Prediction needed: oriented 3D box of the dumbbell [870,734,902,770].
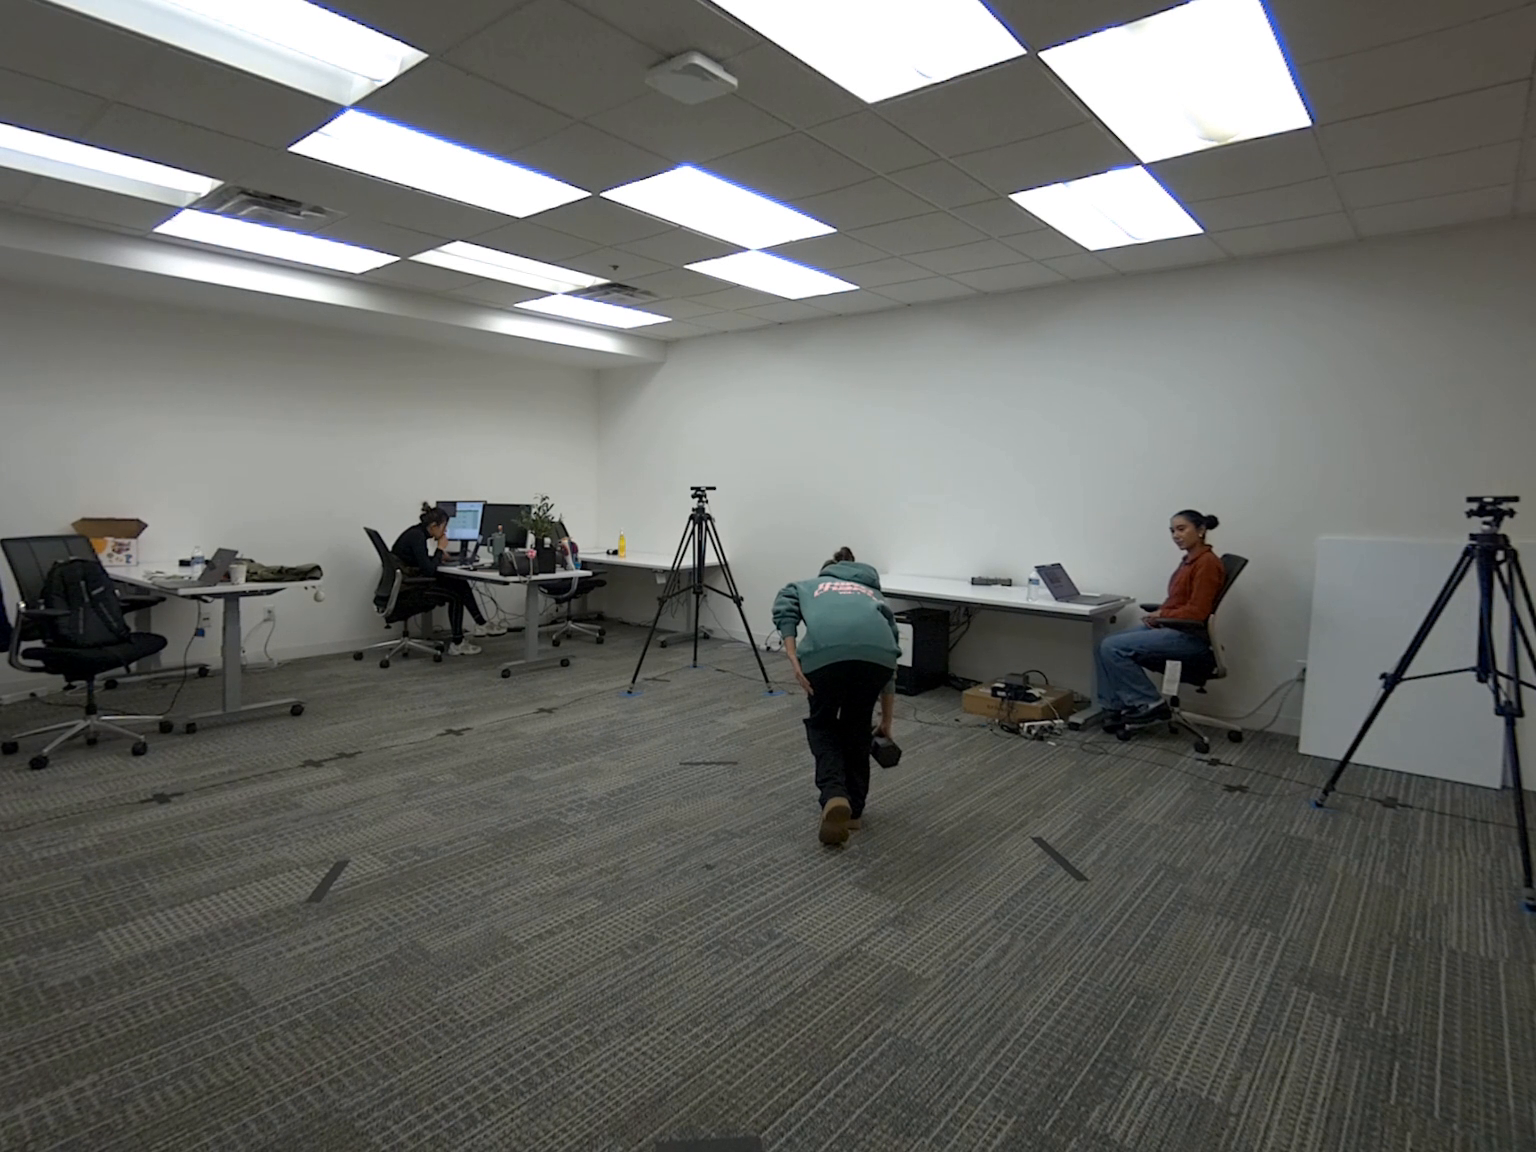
[{"bbox_3d":[0.465,0.714,3.658,0.107,0.123,0.298,19,4,-11],"label":"dumbbell"}]
